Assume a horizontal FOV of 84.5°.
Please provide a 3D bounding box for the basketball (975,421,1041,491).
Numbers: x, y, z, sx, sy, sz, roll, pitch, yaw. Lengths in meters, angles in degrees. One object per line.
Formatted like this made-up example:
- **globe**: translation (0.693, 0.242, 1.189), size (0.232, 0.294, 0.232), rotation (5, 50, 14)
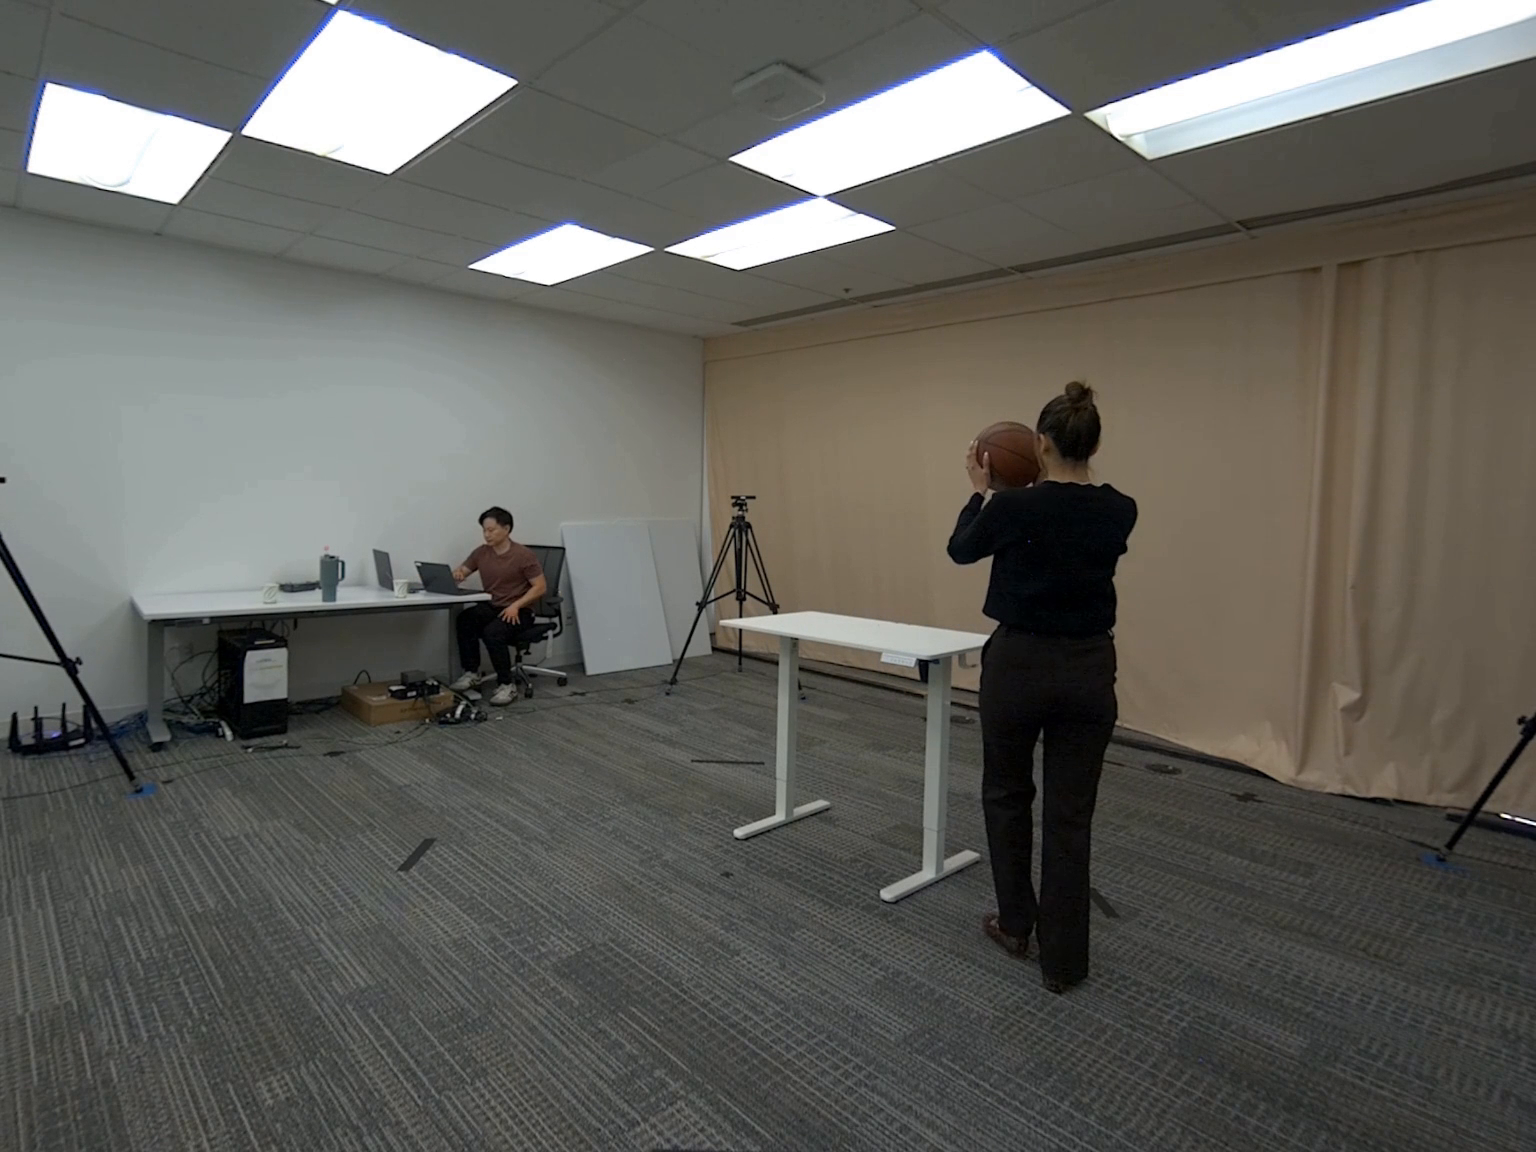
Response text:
- **basketball**: translation (0.791, -0.395, 2.821), size (0.236, 0.235, 0.237), rotation (1, 4, -1)
